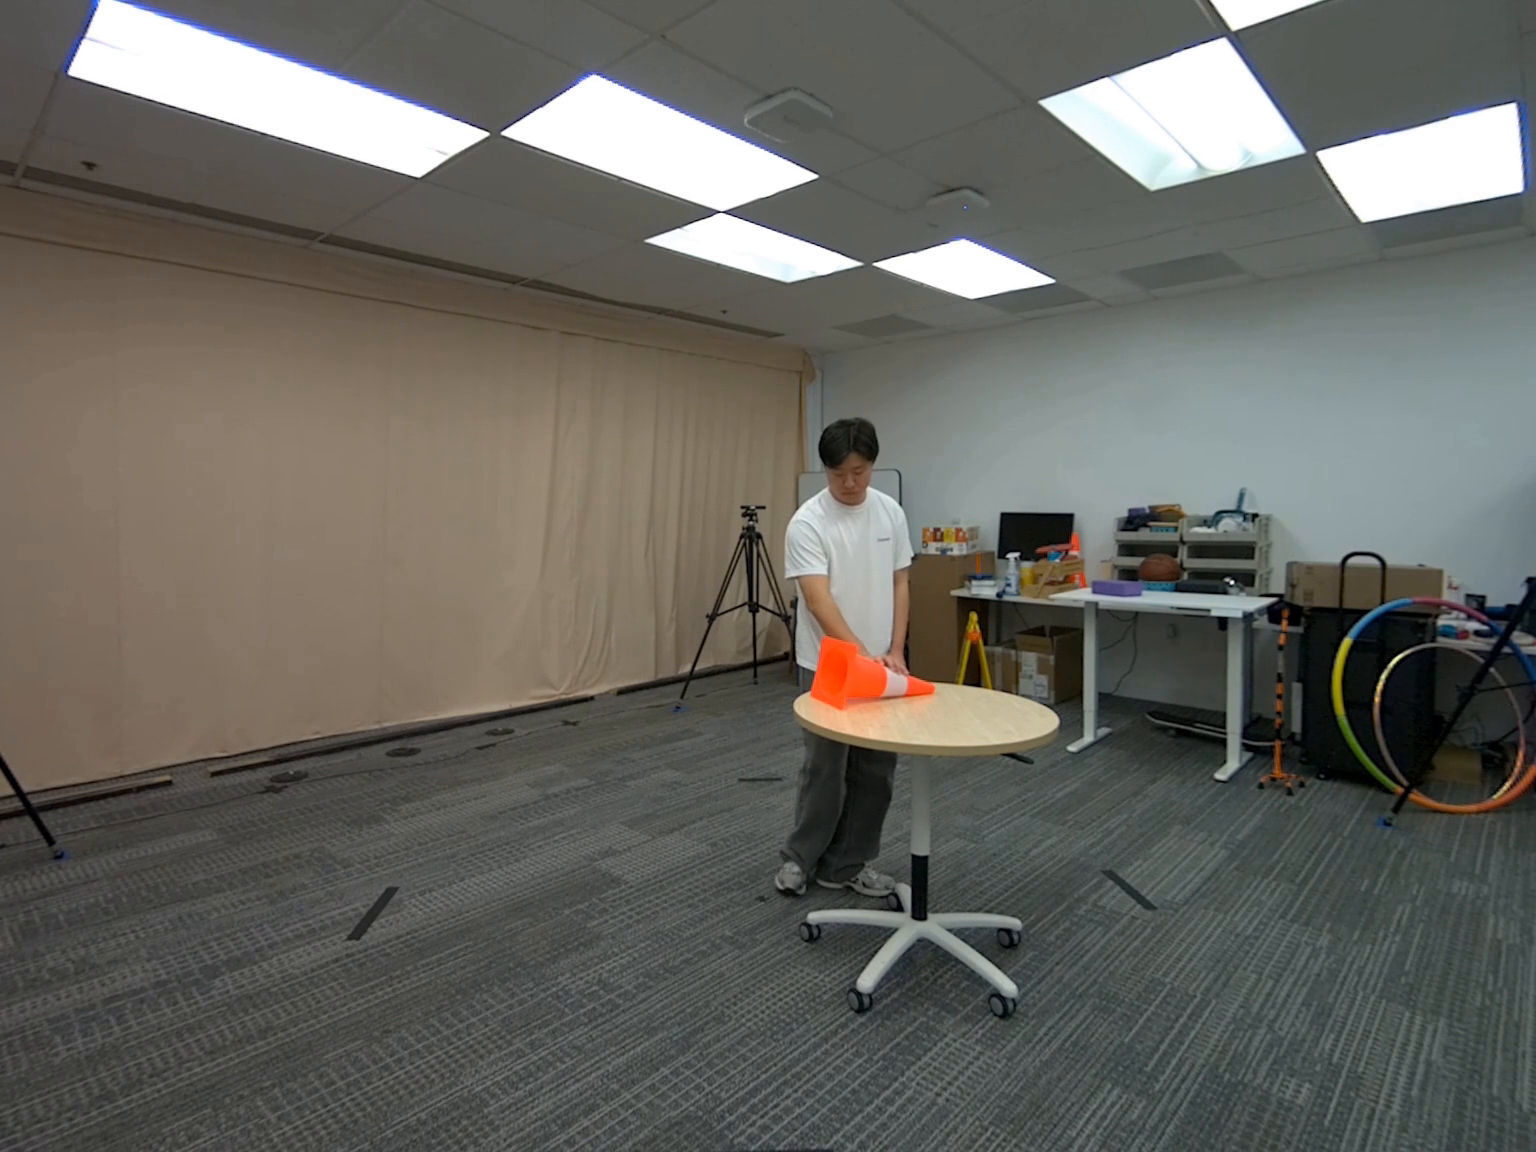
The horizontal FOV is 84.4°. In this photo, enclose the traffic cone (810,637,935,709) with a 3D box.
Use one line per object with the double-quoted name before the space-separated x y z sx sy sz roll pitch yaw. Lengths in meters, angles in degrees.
"traffic cone" 0.375 0.327 2.653 0.374 0.205 0.208 11 -1 -23
